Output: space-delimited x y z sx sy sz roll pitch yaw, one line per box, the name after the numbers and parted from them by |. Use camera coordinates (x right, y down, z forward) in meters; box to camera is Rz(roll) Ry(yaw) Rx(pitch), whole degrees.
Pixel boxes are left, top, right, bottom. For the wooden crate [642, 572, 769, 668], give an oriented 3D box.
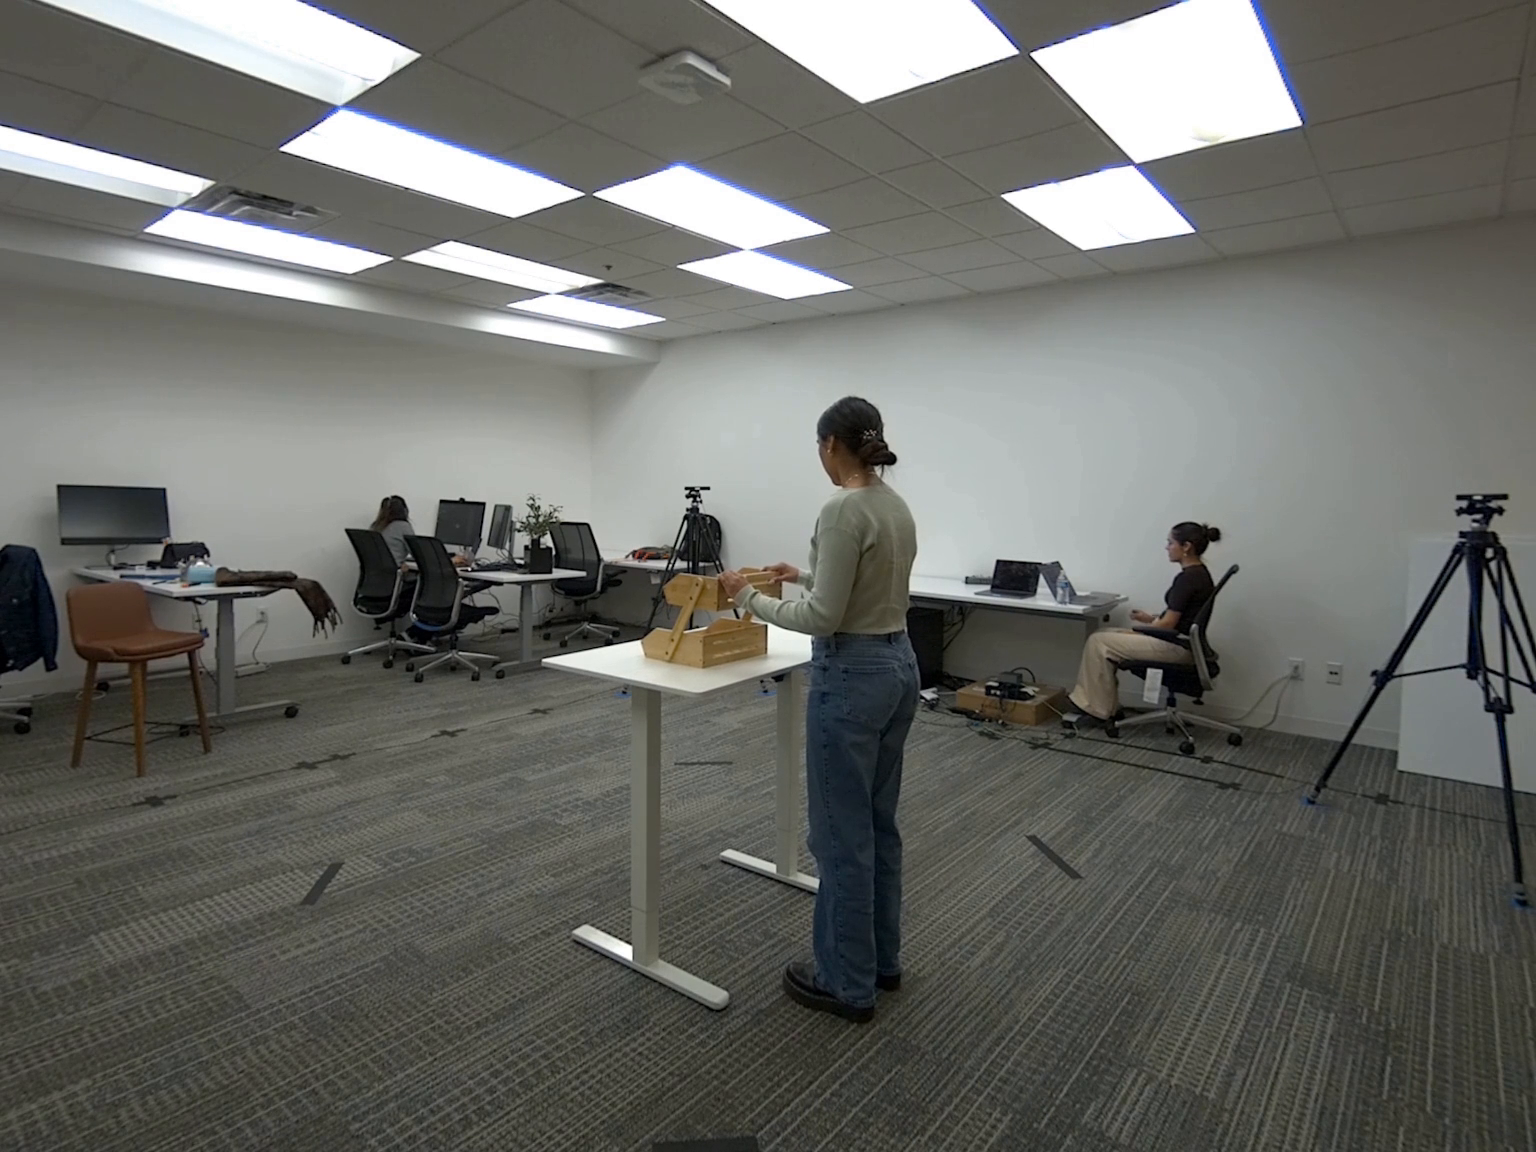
-0.177 0.108 2.553 0.312 0.272 0.315 5 6 39 | wooden crate
